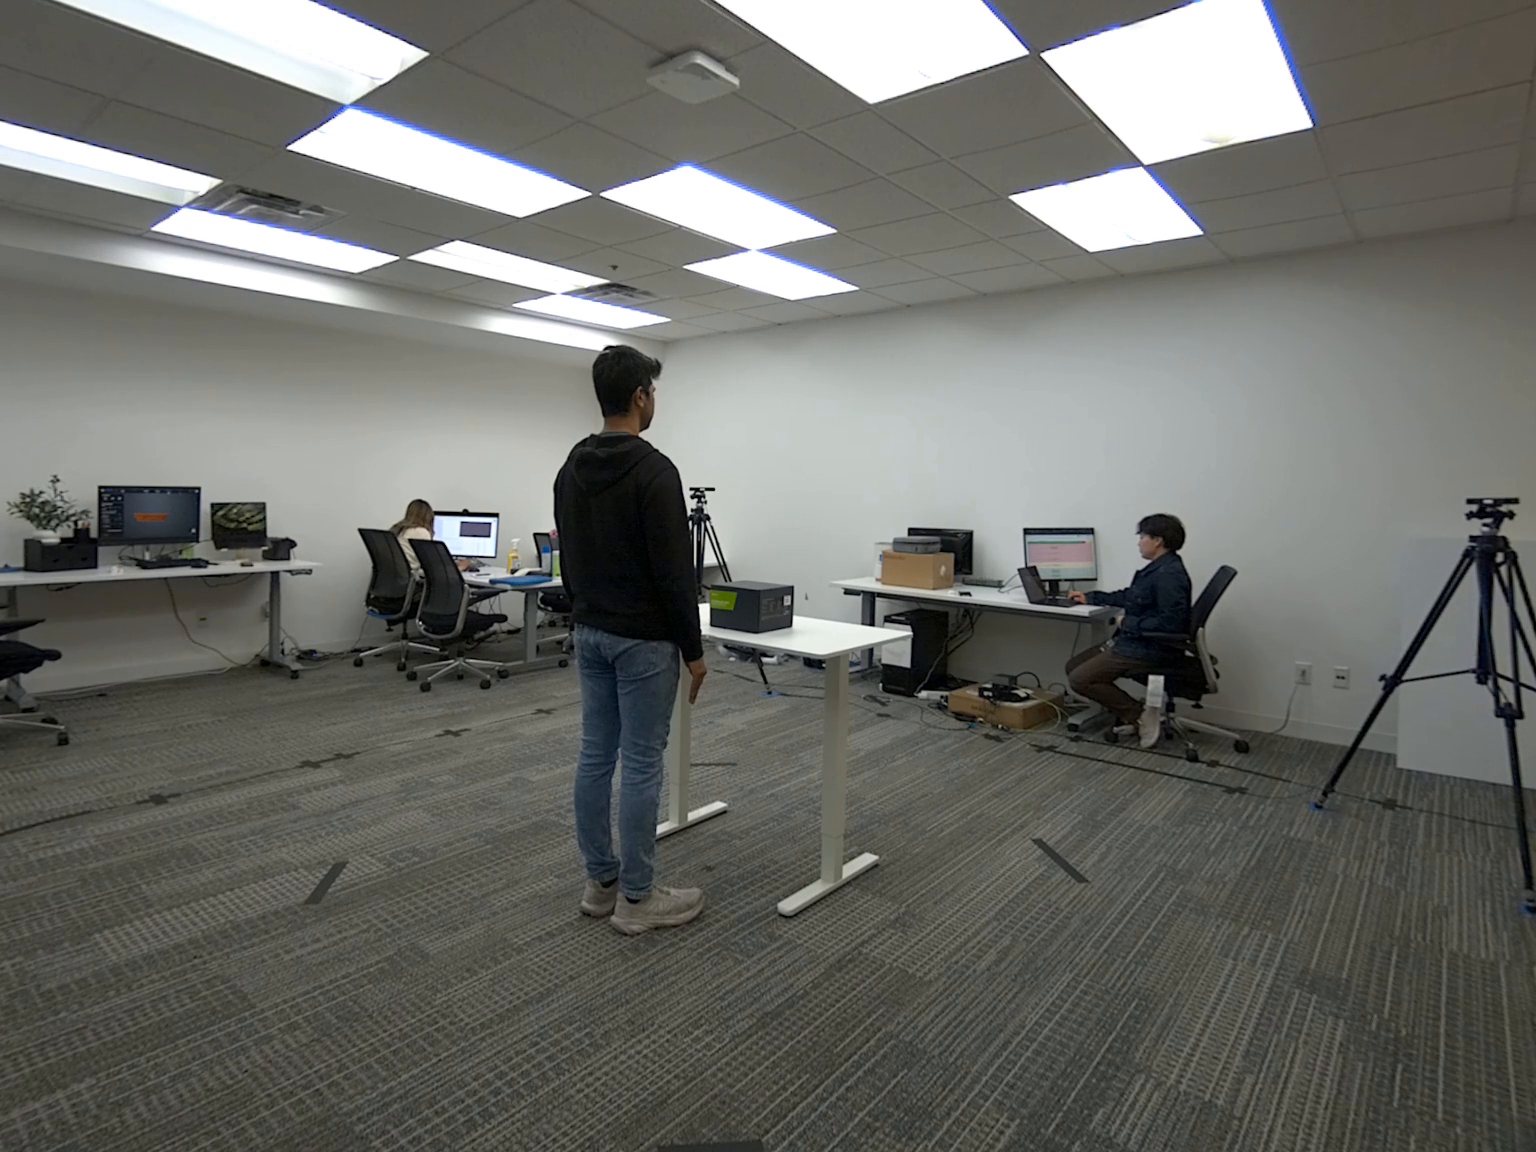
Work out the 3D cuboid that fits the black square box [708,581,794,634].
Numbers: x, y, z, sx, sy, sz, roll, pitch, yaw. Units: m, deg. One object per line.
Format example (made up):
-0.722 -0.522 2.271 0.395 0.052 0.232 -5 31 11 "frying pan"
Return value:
-0.070 0.106 3.127 0.235 0.155 0.211 5 7 37 "black square box"
